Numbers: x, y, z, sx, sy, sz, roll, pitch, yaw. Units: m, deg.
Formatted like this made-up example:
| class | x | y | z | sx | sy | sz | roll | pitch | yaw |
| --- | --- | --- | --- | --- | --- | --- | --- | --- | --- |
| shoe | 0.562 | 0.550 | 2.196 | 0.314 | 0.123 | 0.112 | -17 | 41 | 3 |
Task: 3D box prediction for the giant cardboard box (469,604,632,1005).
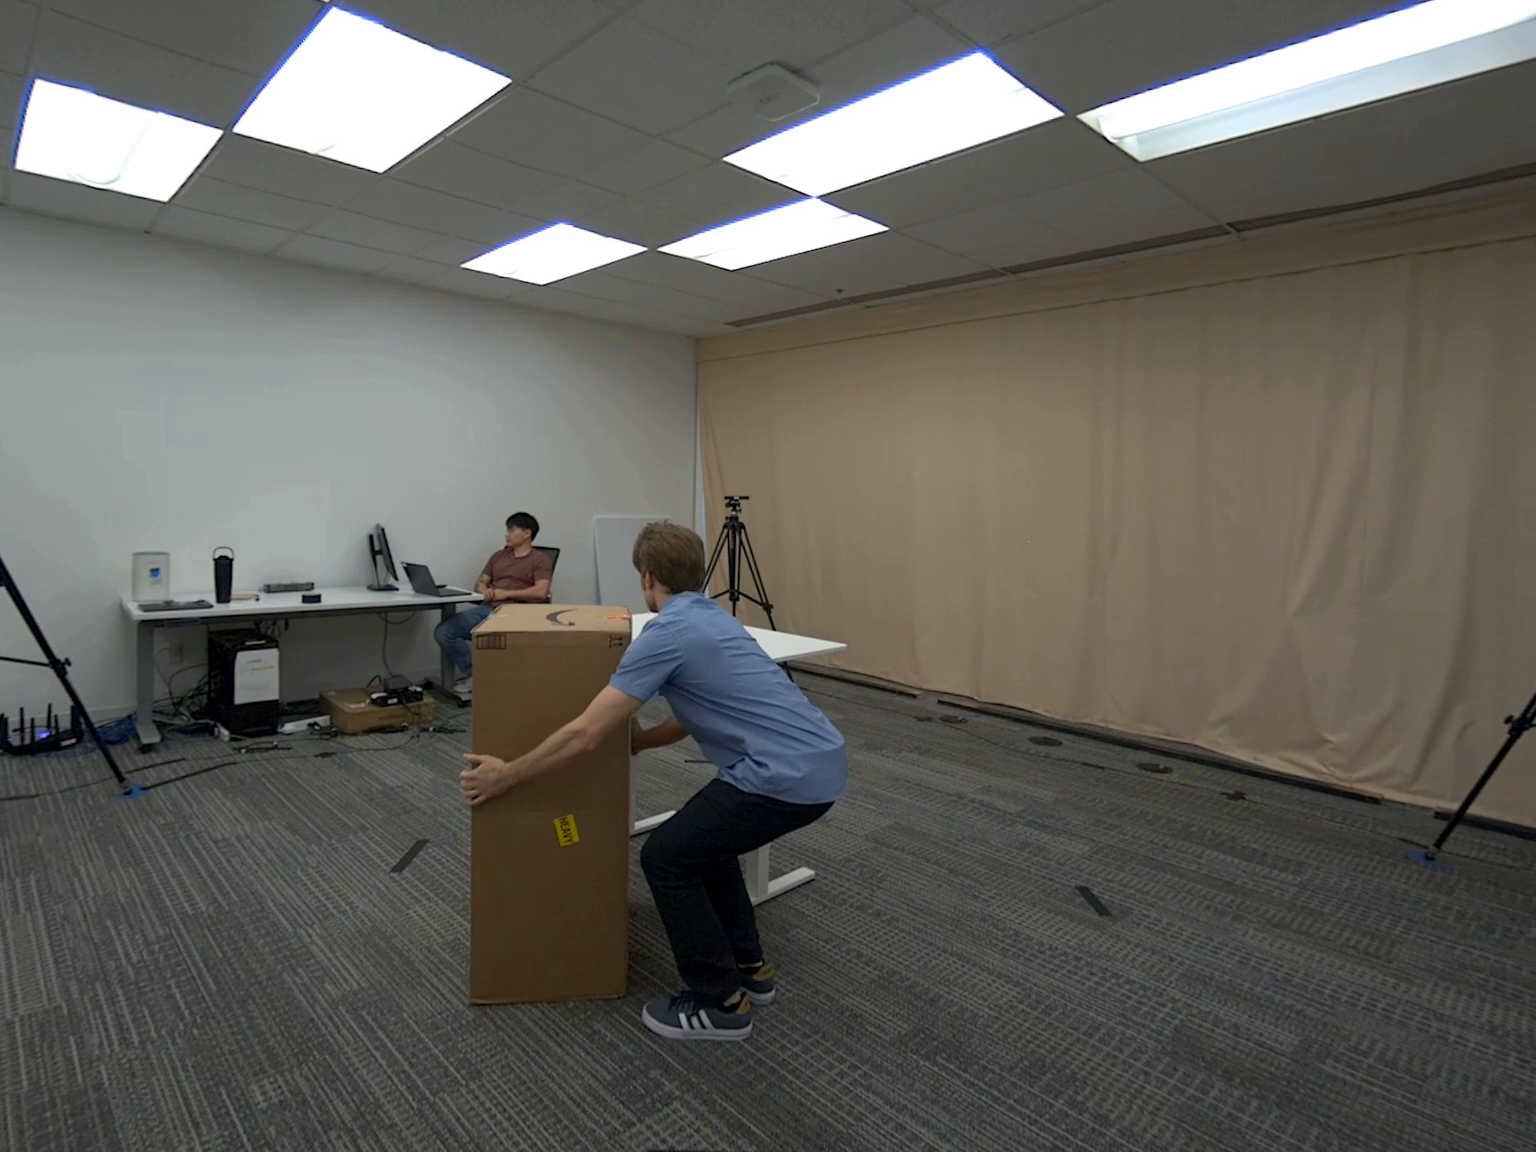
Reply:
| class | x | y | z | sx | sy | sz | roll | pitch | yaw |
| --- | --- | --- | --- | --- | --- | --- | --- | --- | --- |
| giant cardboard box | -0.642 | 0.633 | 2.557 | 0.423 | 1.024 | 0.582 | 1 | 3 | -9 |
